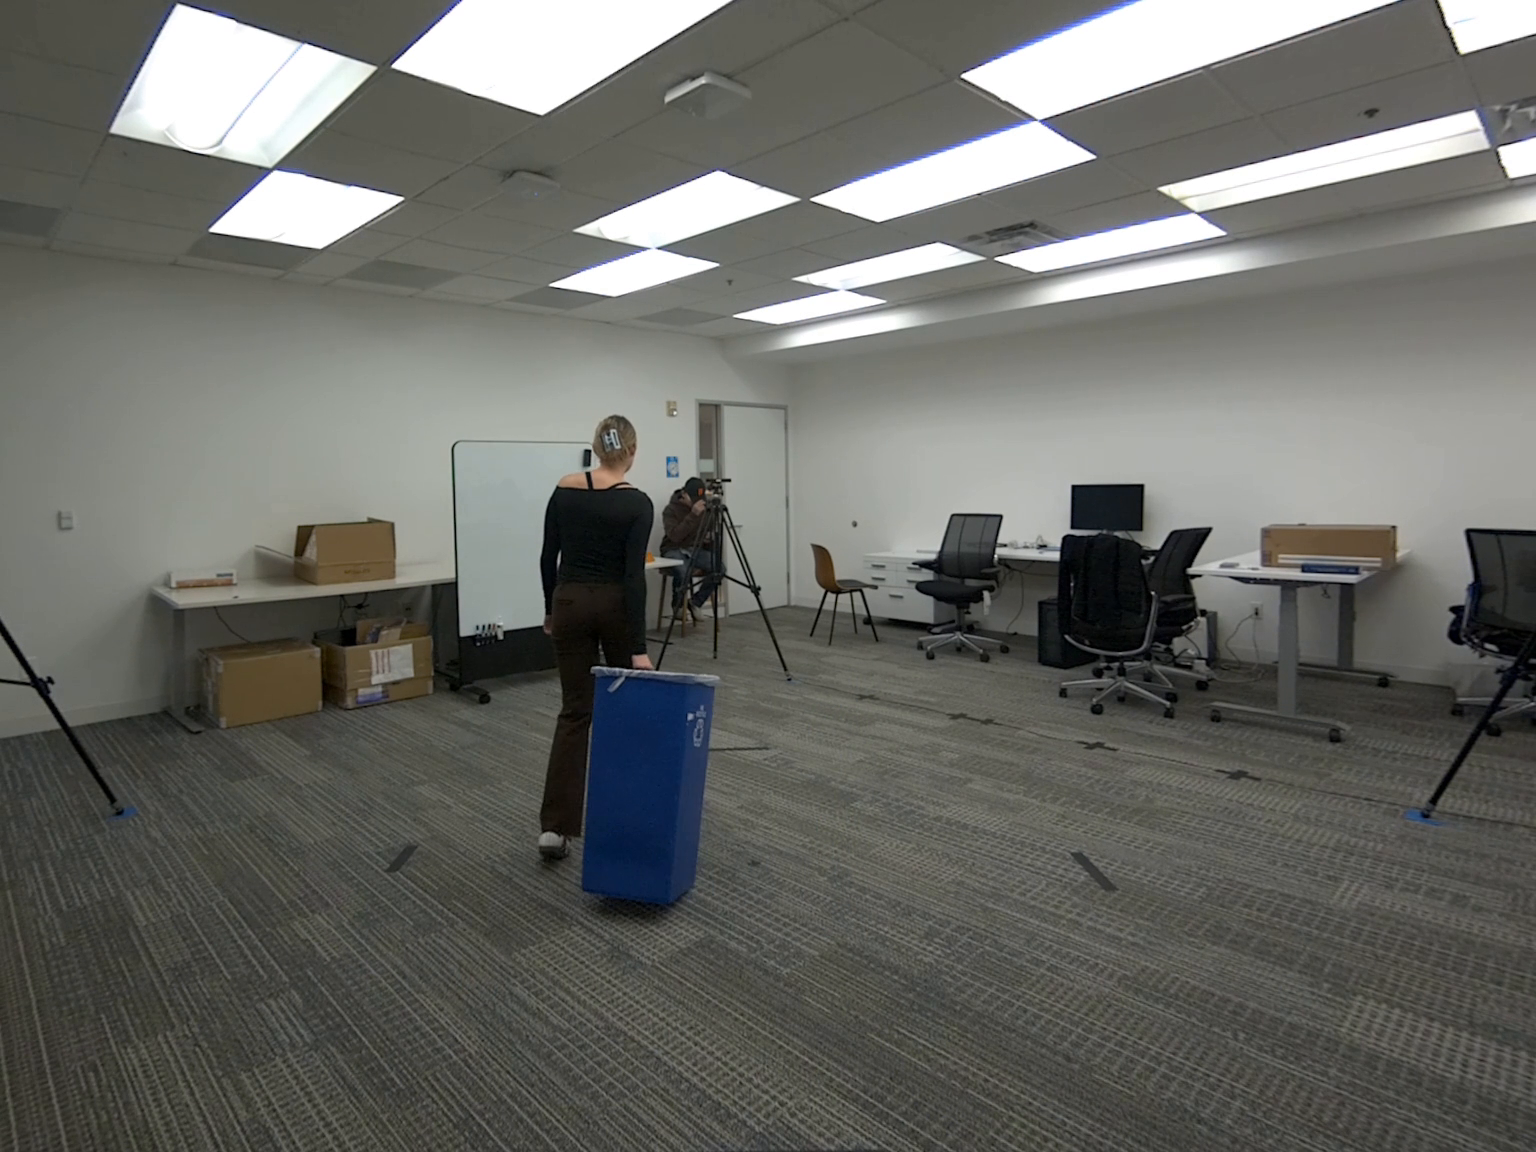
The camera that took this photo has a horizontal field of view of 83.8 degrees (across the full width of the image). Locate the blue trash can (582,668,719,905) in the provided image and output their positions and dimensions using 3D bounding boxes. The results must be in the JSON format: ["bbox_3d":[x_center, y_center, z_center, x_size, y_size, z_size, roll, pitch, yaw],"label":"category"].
[{"bbox_3d":[-0.401,0.687,2.924,0.384,0.719,0.366,2,-8,14],"label":"blue trash can"}]
